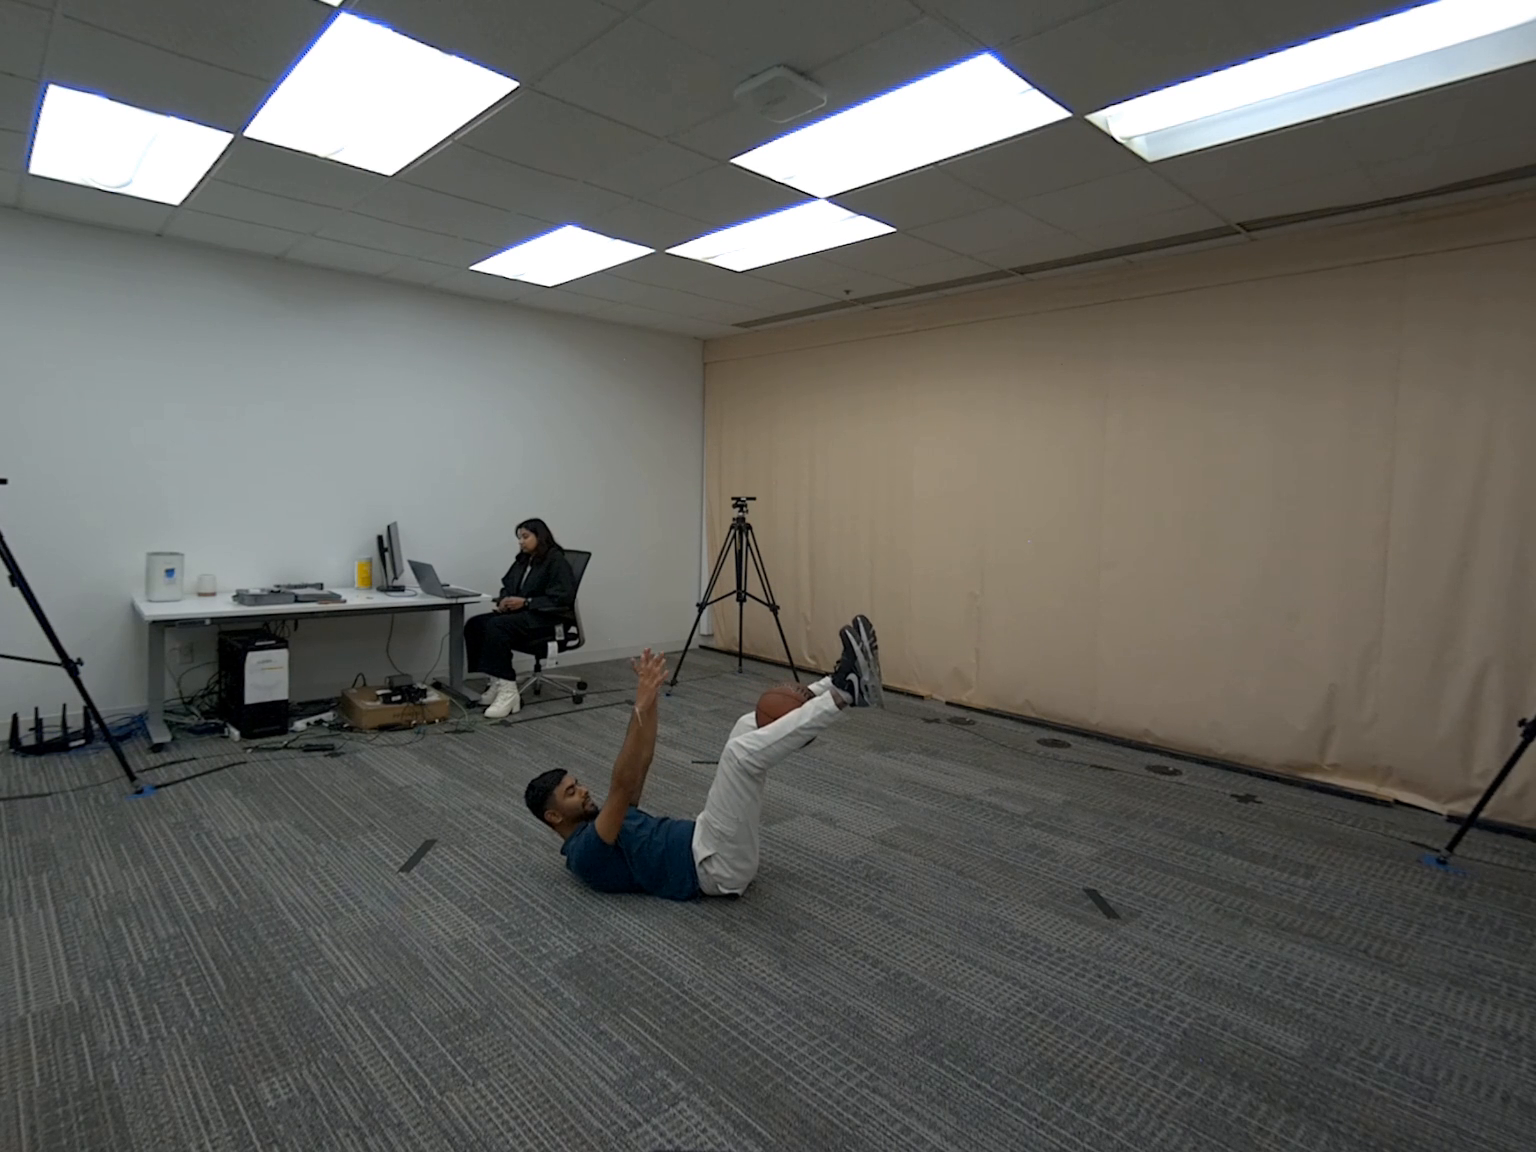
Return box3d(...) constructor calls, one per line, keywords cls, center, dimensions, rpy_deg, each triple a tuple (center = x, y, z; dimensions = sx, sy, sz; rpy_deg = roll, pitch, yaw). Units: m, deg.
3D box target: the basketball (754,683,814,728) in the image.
box3d(cls="basketball", center=(0.069, 0.494, 2.964), dimensions=(0.236, 0.235, 0.237), rpy_deg=(1, 4, -1))
